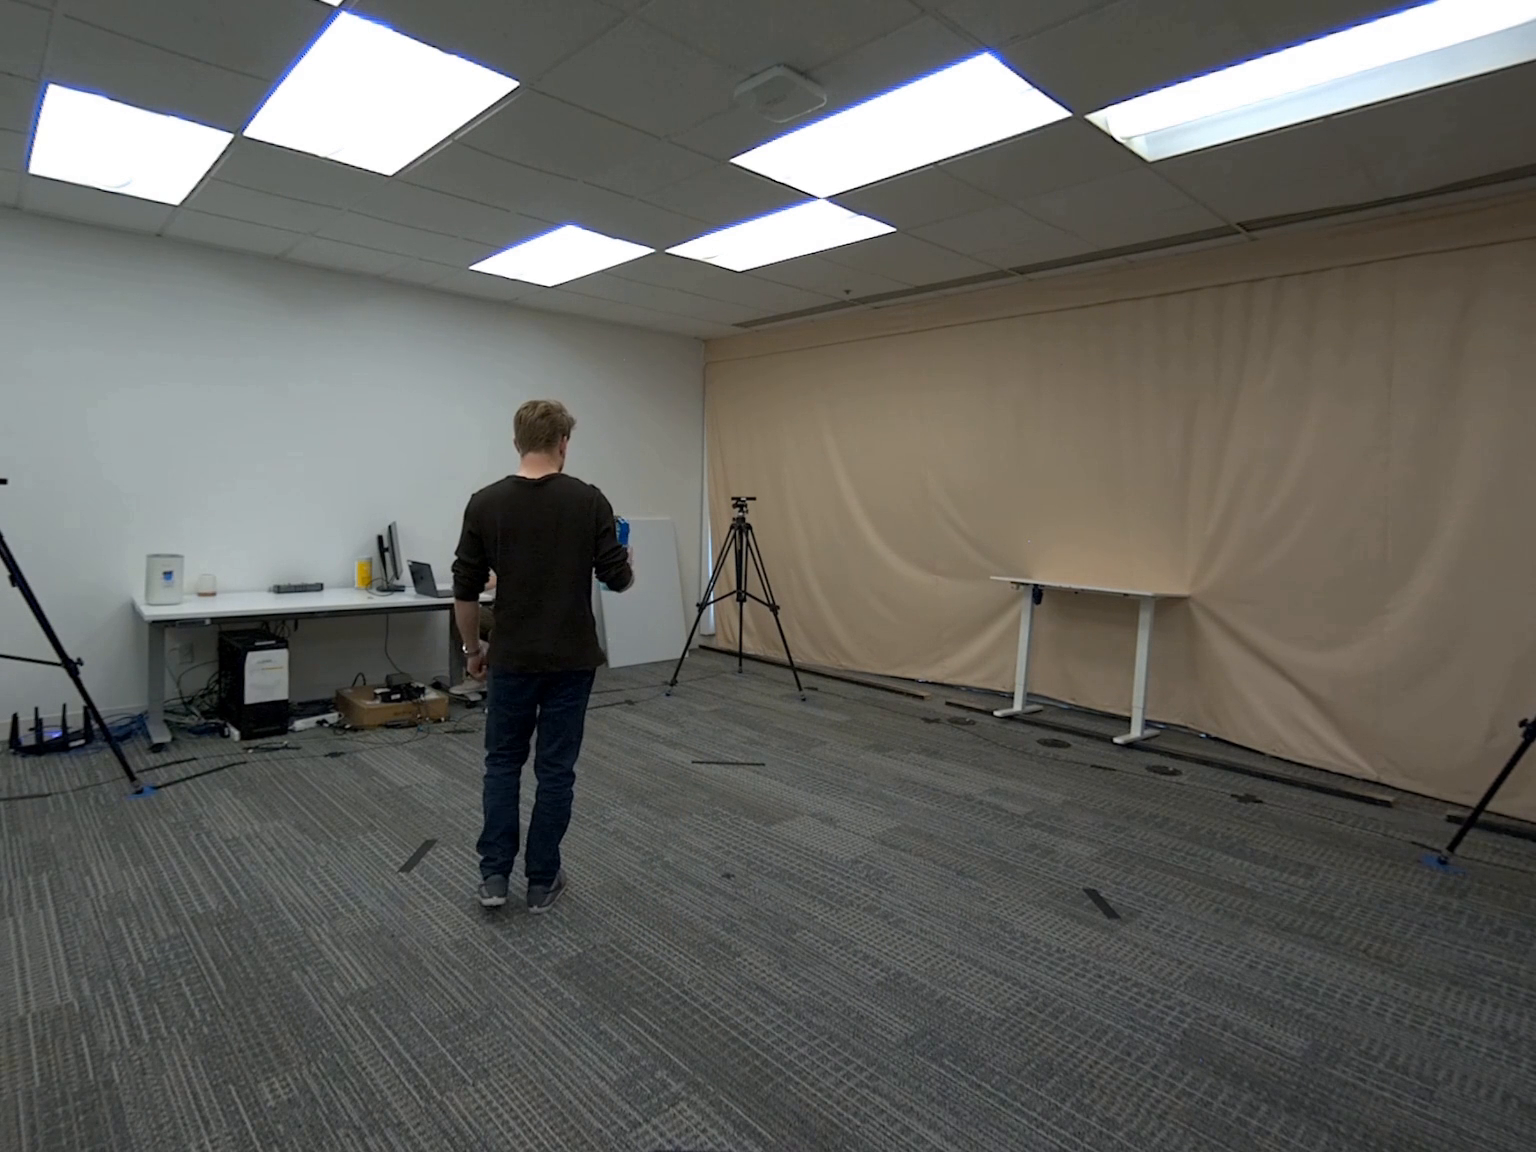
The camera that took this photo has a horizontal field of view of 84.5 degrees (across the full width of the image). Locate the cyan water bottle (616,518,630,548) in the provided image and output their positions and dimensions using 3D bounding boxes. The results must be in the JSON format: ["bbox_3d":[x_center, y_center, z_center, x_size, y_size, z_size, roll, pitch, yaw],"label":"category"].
[{"bbox_3d":[-0.578,-0.084,3.160,0.092,0.283,0.092,5,2,-2],"label":"cyan water bottle"}]
